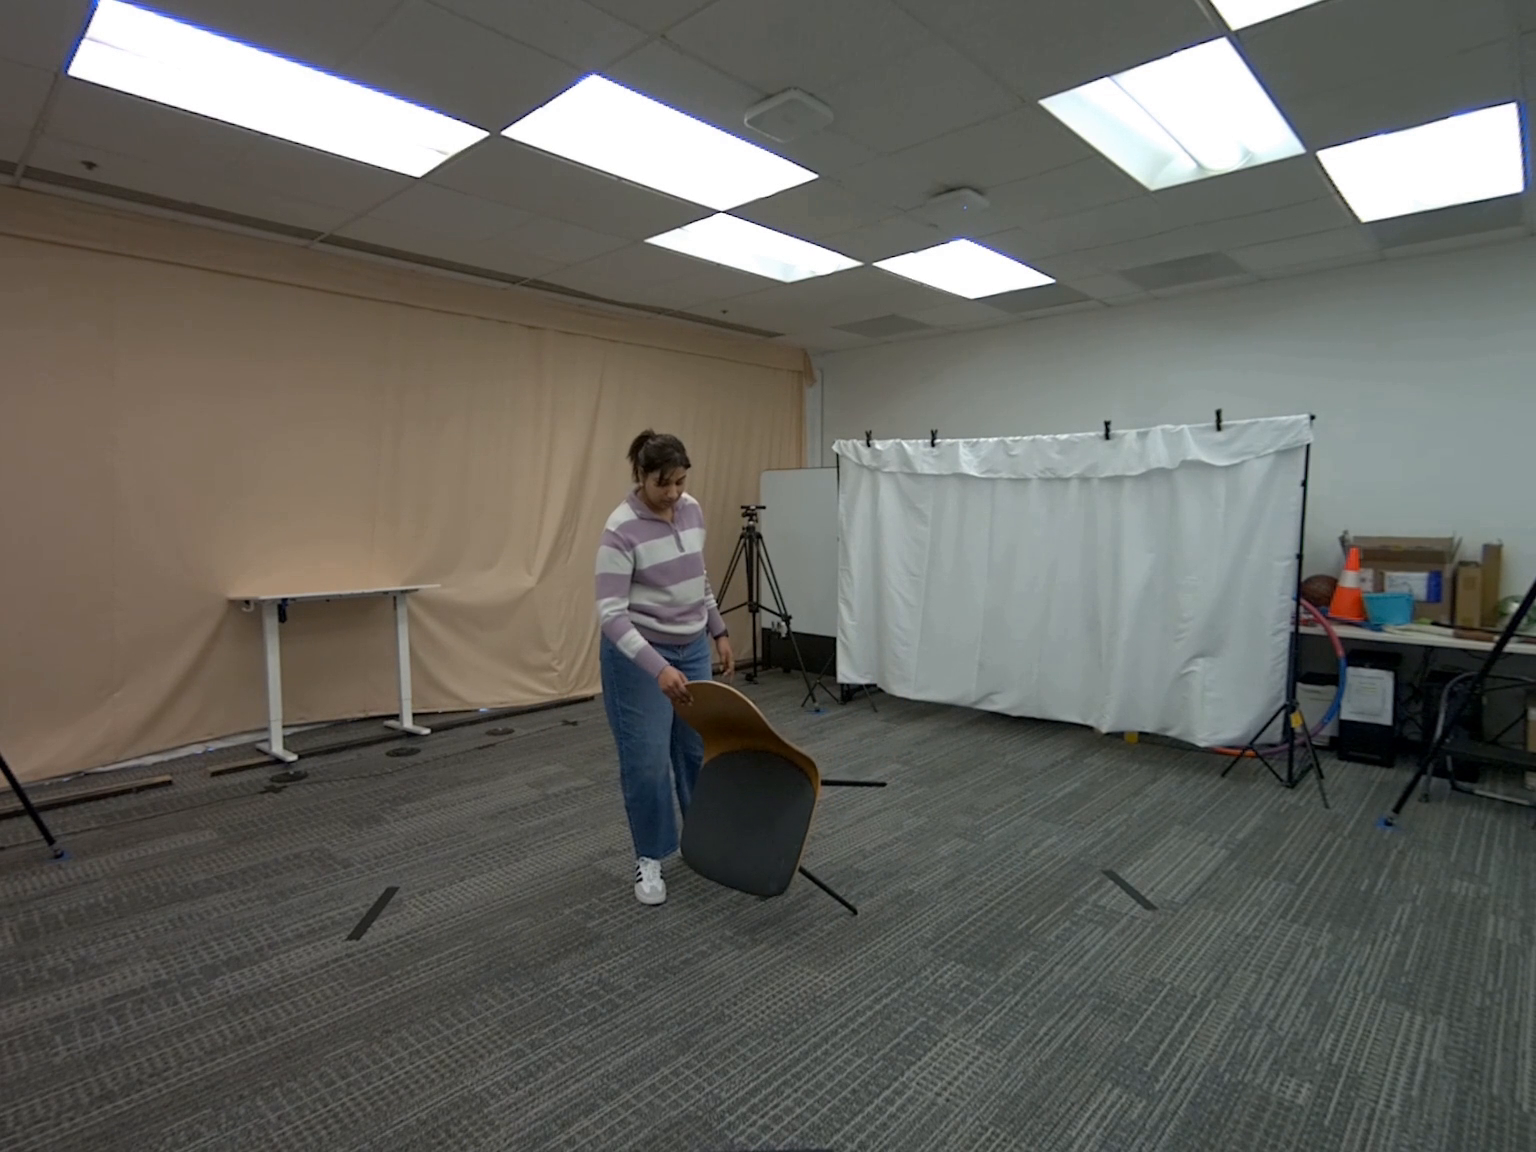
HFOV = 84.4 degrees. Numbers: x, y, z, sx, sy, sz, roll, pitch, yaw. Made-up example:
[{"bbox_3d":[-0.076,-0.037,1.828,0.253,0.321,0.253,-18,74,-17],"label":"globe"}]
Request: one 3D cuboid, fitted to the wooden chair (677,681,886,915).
[{"bbox_3d":[-0.029,0.766,2.769,0.493,0.525,0.846,4,-27,36],"label":"wooden chair"}]
